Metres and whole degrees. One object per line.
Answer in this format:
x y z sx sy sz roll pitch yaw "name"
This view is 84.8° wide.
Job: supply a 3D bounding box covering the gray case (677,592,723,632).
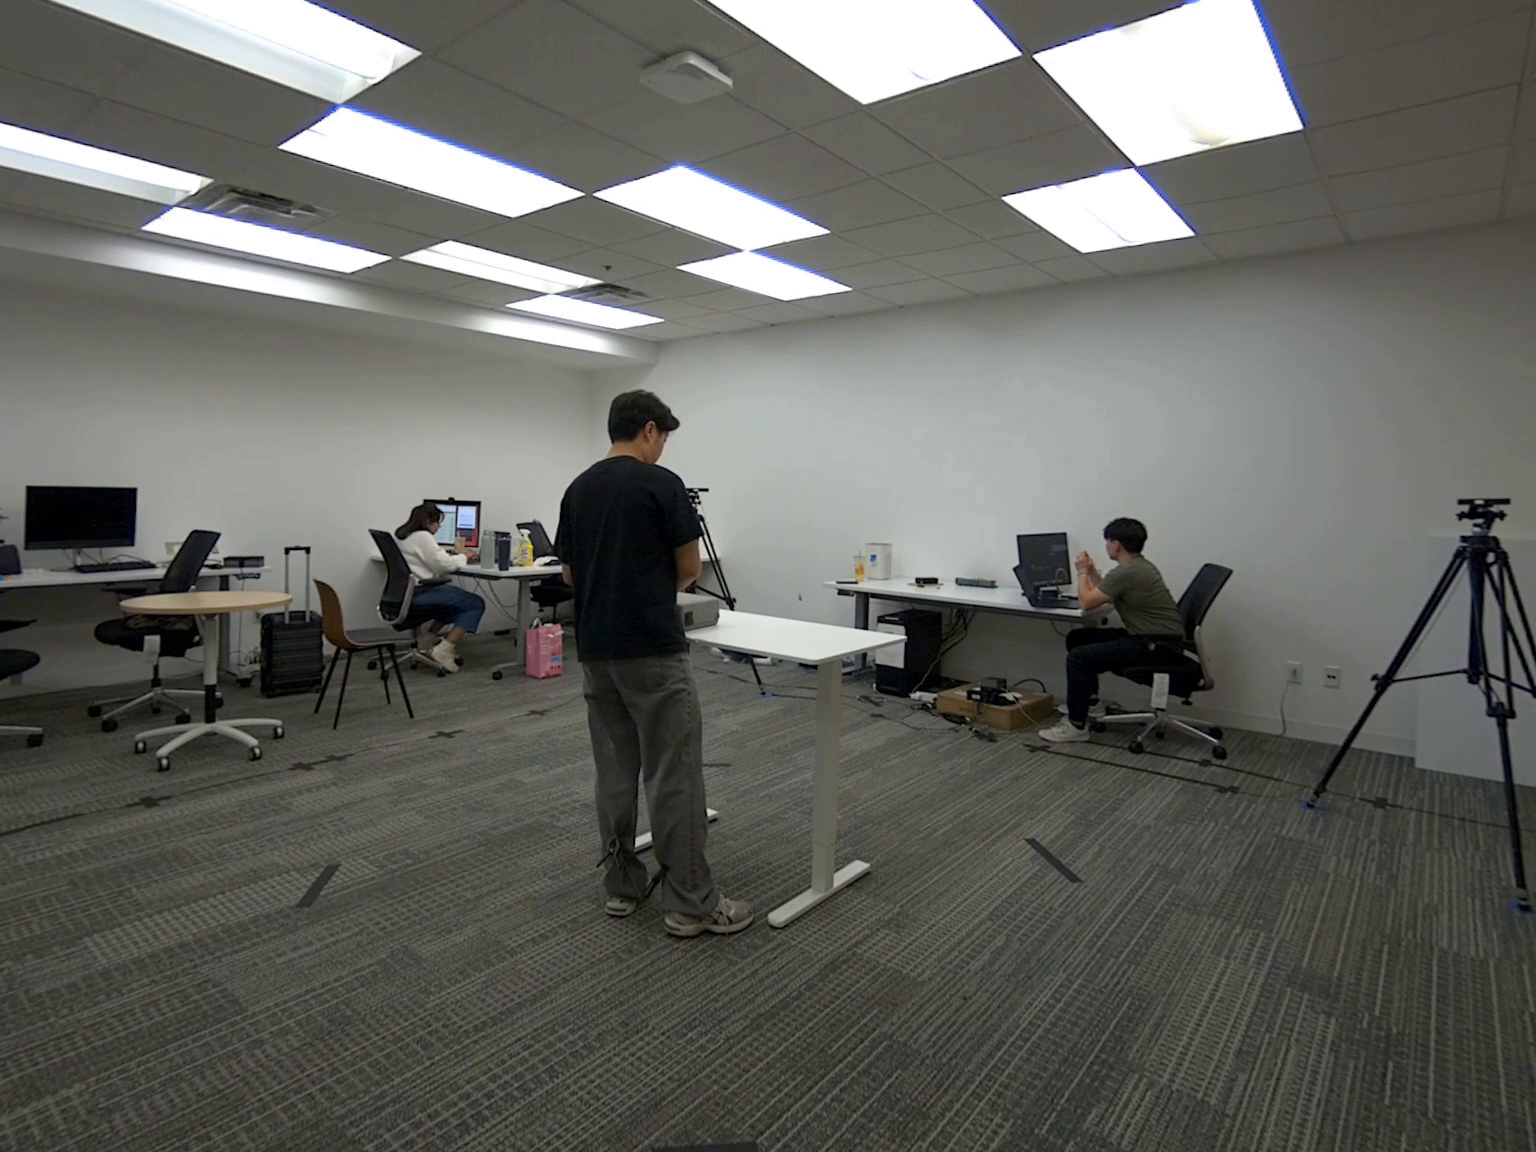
-0.346 0.123 3.152 0.269 0.104 0.251 6 9 30 "gray case"
